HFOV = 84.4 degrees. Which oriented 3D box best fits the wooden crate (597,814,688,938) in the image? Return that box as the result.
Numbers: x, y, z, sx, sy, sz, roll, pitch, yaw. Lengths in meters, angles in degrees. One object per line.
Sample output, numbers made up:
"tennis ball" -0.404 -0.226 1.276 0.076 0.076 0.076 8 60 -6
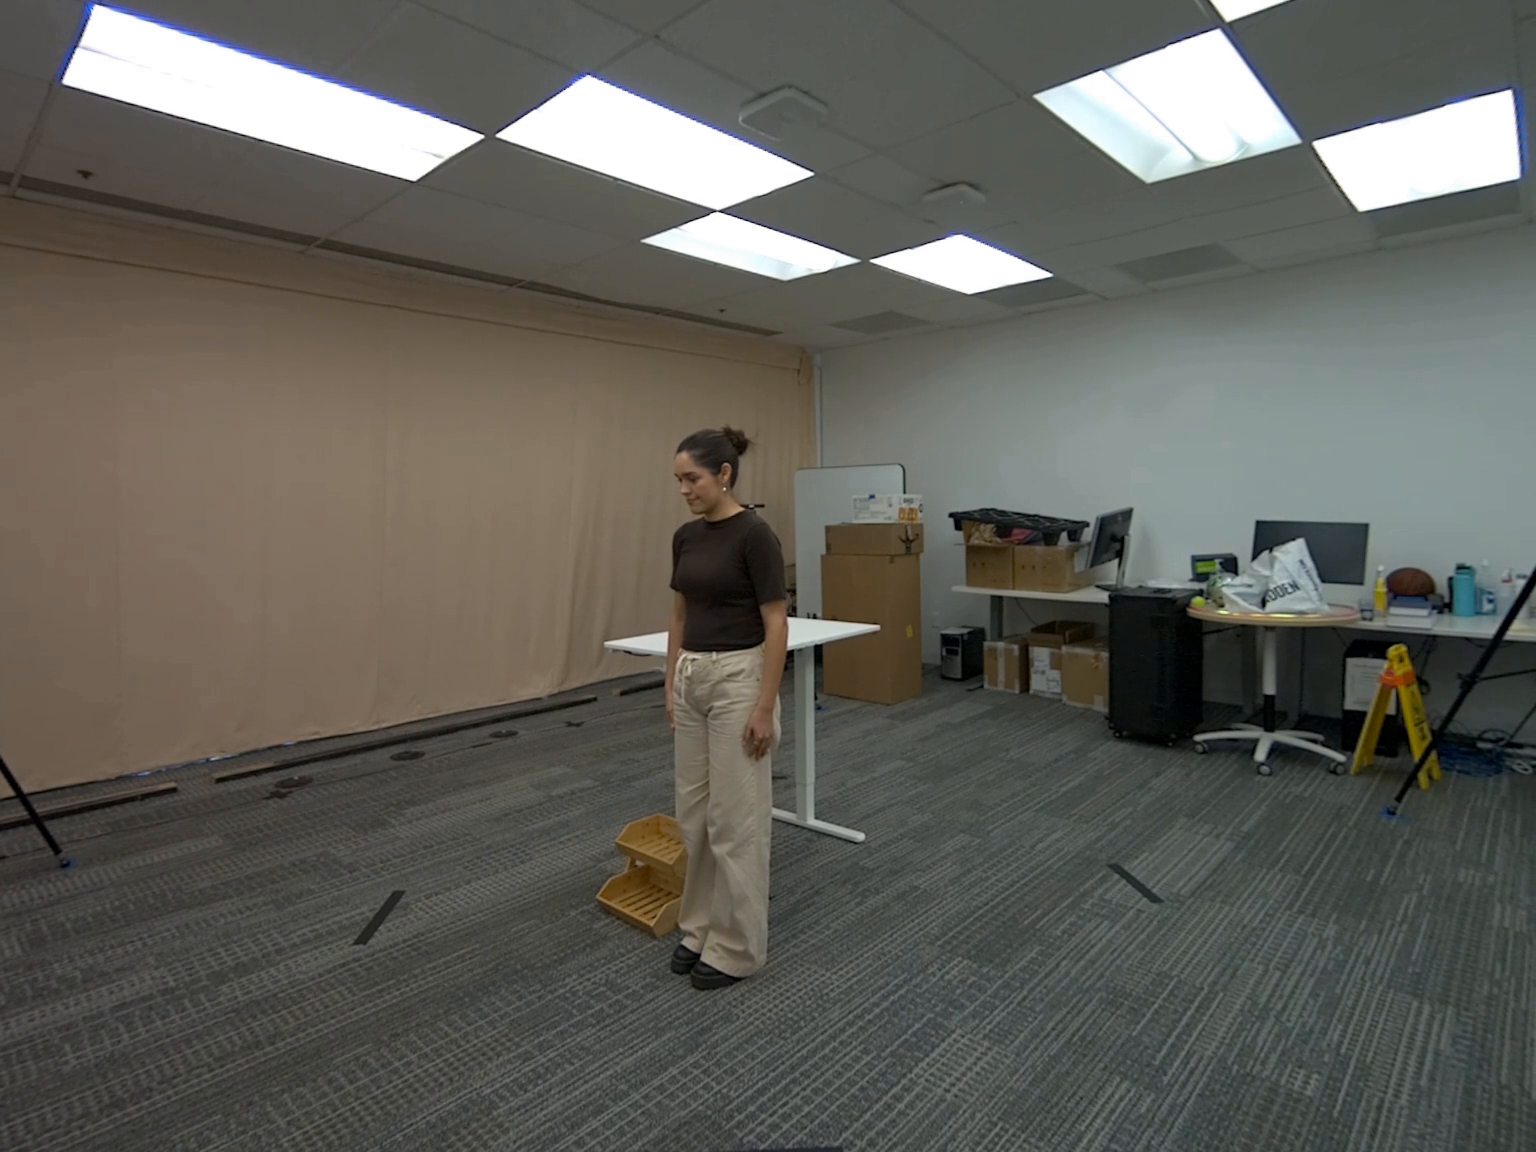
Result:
"wooden crate" -0.385 1.022 2.908 0.335 0.273 0.293 2 5 42
